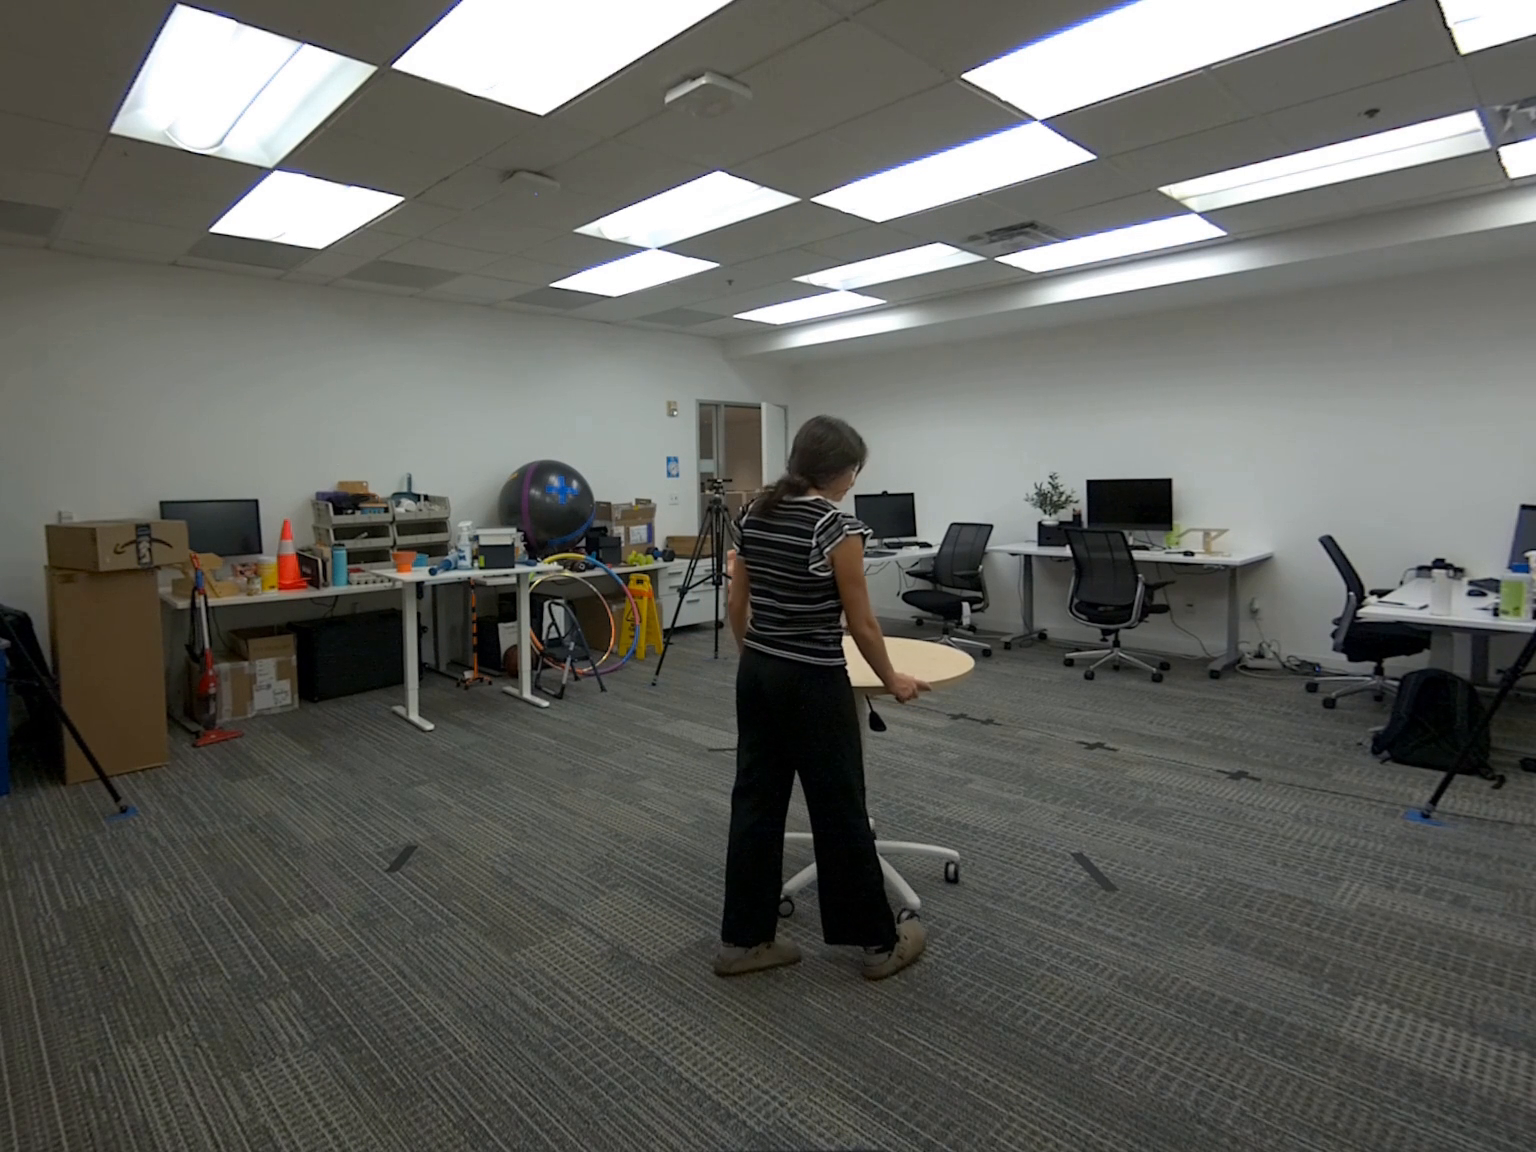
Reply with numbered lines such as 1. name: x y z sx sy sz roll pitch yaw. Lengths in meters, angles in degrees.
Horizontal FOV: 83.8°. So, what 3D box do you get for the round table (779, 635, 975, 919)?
1. round table: 0.310 0.670 2.934 0.763 0.791 0.768 -1 5 -2
